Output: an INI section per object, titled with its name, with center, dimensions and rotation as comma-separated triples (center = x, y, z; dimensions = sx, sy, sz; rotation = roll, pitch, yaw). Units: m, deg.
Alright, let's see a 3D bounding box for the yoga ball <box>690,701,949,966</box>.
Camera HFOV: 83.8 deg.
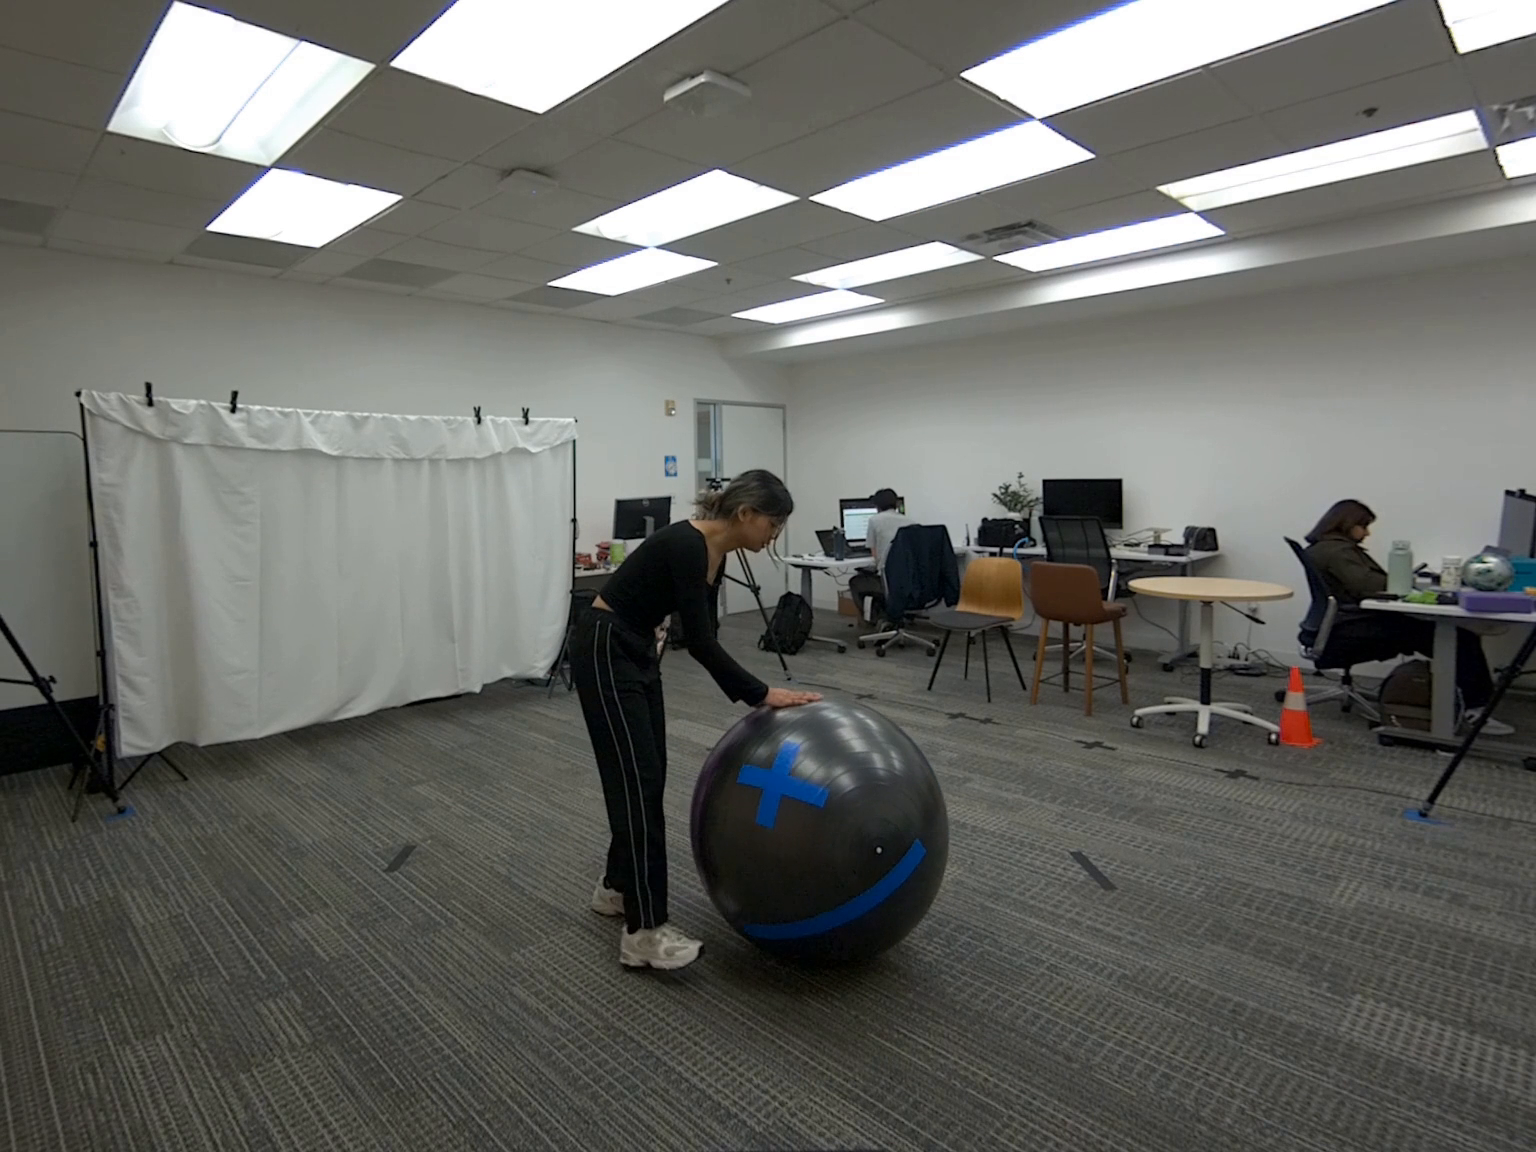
[yoga ball]
center = 0.156, 0.742, 2.536
dimensions = 0.757, 0.755, 0.762
rotation = -1, 5, -2
